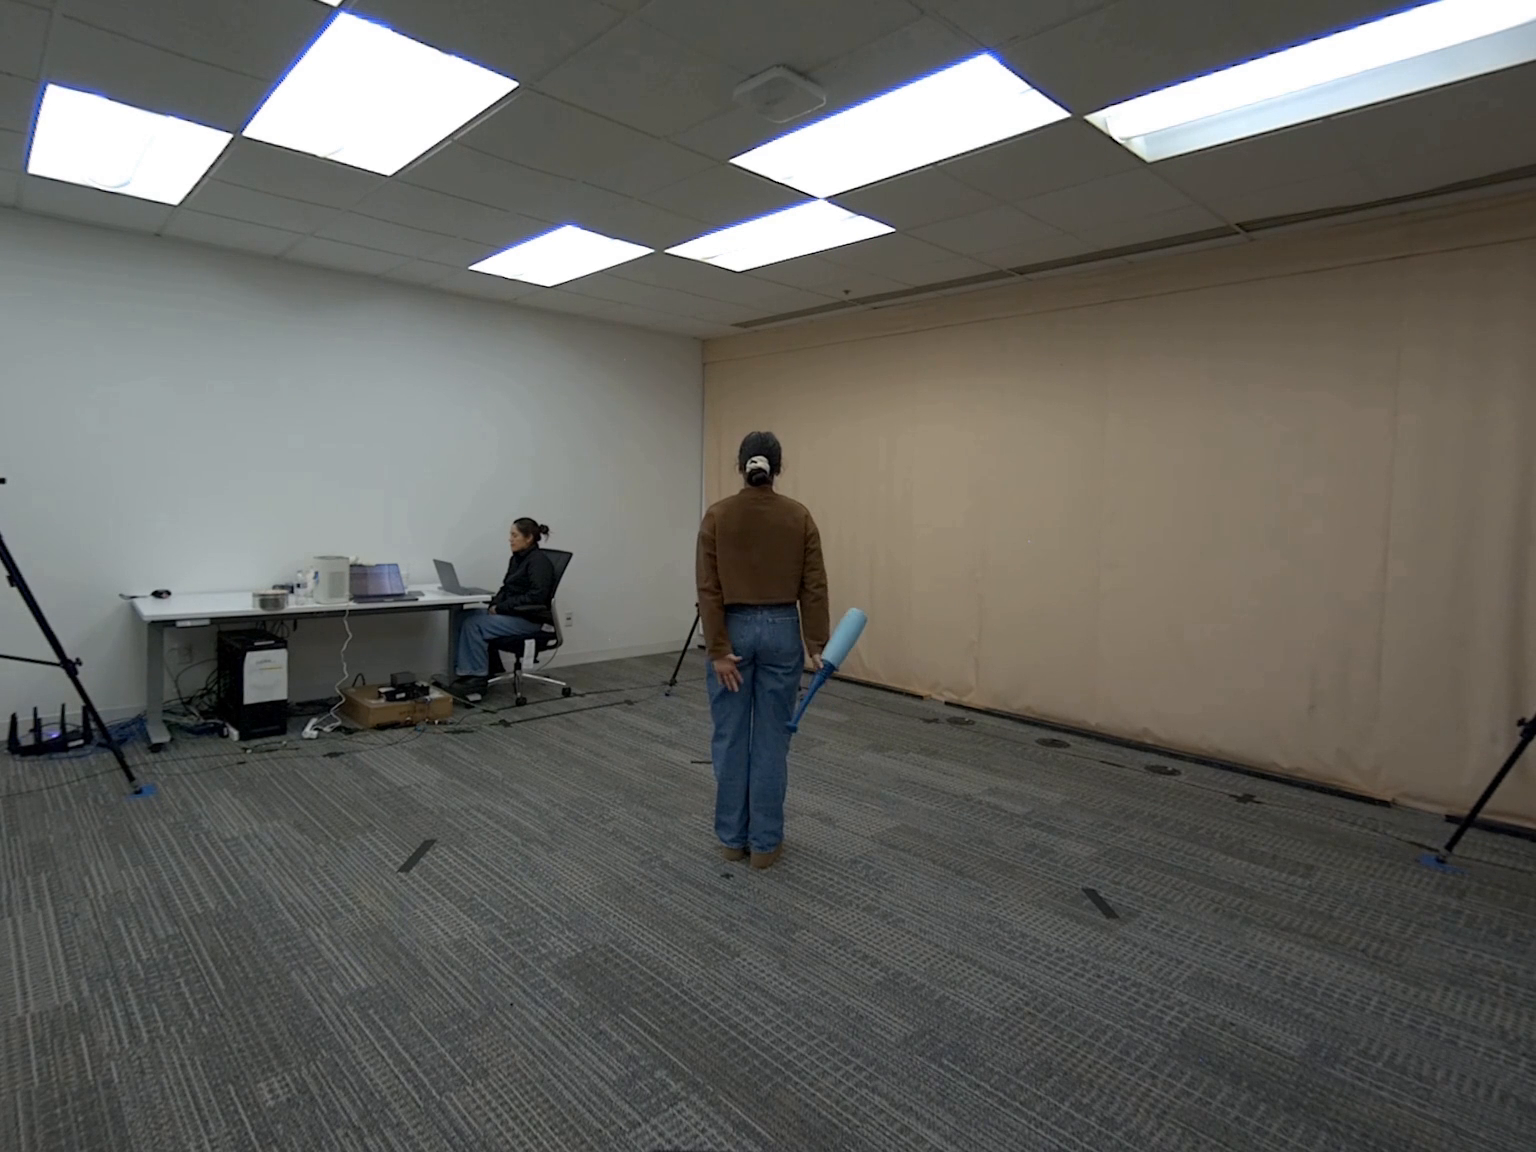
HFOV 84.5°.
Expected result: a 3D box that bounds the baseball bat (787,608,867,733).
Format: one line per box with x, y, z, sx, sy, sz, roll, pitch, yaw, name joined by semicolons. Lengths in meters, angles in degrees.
0.202;0.348;3.094;0.090;0.545;0.087;26;-28;14;baseball bat
